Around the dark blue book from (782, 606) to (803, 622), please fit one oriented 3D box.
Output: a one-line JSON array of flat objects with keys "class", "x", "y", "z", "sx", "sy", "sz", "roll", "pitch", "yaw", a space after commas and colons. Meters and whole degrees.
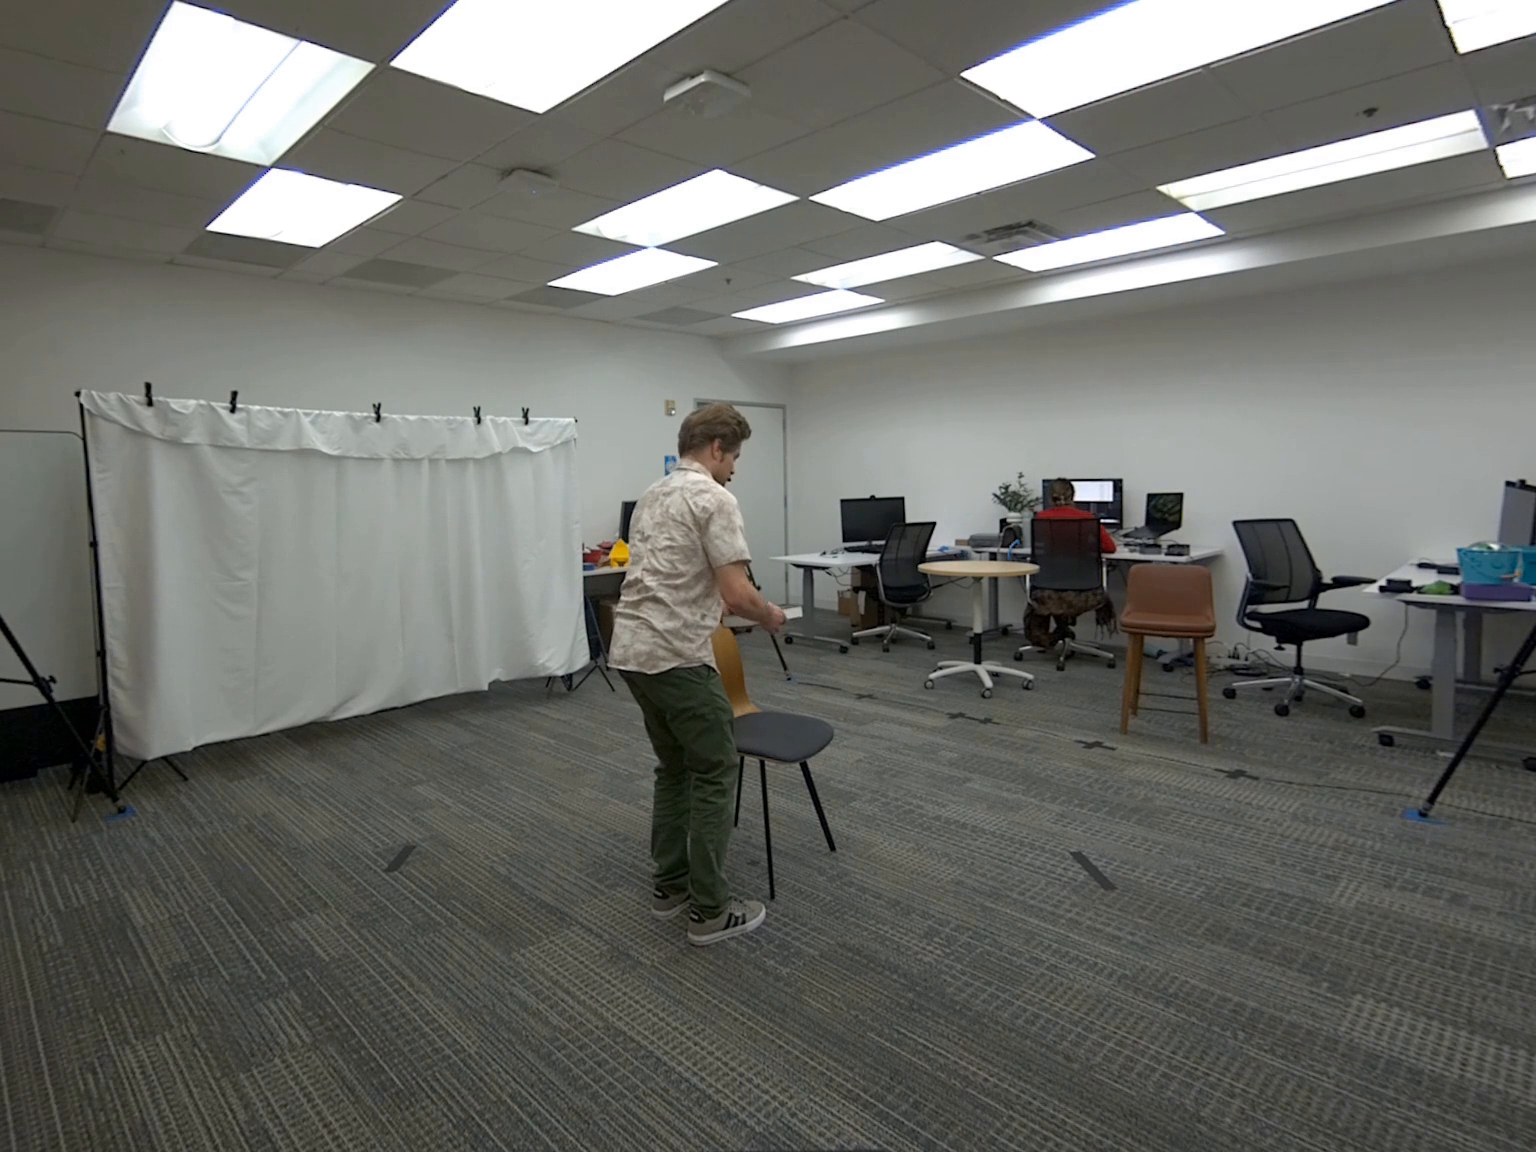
[{"class": "dark blue book", "x": -0.020, "y": 0.144, "z": 2.964, "sx": 0.239, "sy": 0.045, "sz": 0.167, "roll": -7, "pitch": 1, "yaw": -43}]
